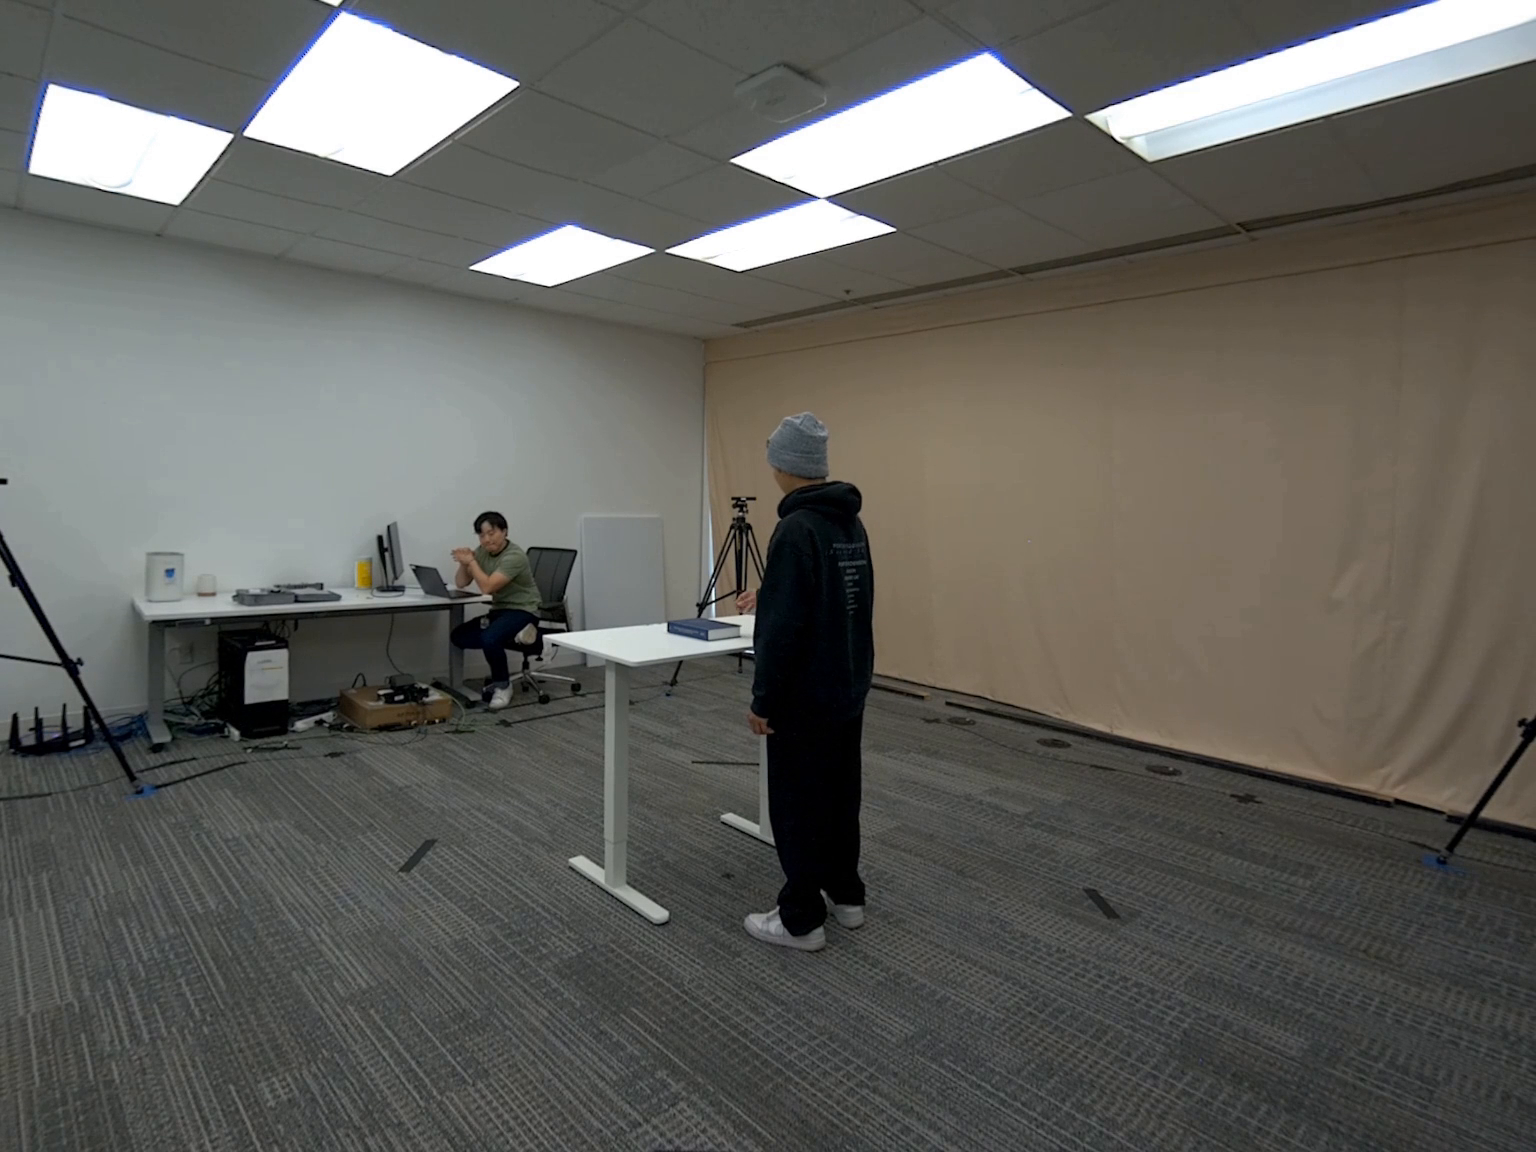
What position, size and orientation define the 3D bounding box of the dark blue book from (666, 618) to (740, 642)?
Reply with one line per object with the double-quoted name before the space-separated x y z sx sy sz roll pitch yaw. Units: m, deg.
"dark blue book" -0.252 0.201 3.137 0.160 0.045 0.251 -4 7 -42
